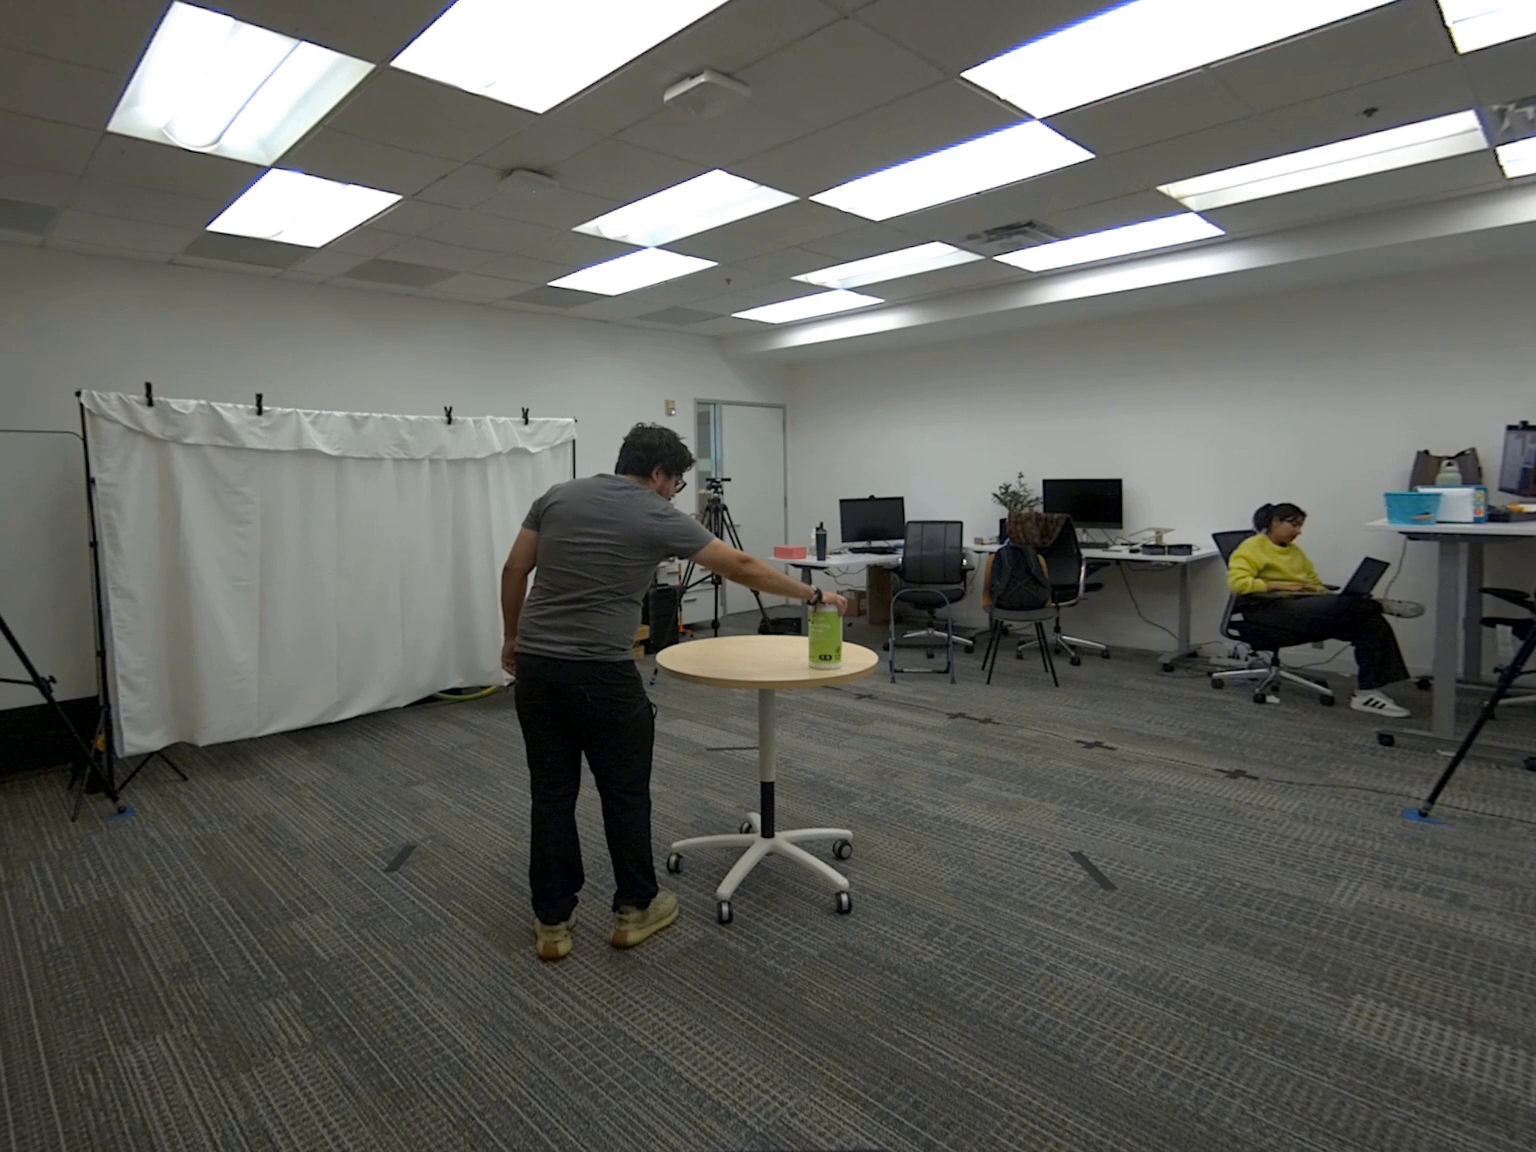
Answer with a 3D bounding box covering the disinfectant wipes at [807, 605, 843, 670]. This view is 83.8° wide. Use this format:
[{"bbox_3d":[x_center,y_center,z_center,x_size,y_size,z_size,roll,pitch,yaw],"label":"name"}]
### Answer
[{"bbox_3d":[0.188,0.187,2.769,0.118,0.216,0.118,-2,5,-1],"label":"disinfectant wipes"}]
